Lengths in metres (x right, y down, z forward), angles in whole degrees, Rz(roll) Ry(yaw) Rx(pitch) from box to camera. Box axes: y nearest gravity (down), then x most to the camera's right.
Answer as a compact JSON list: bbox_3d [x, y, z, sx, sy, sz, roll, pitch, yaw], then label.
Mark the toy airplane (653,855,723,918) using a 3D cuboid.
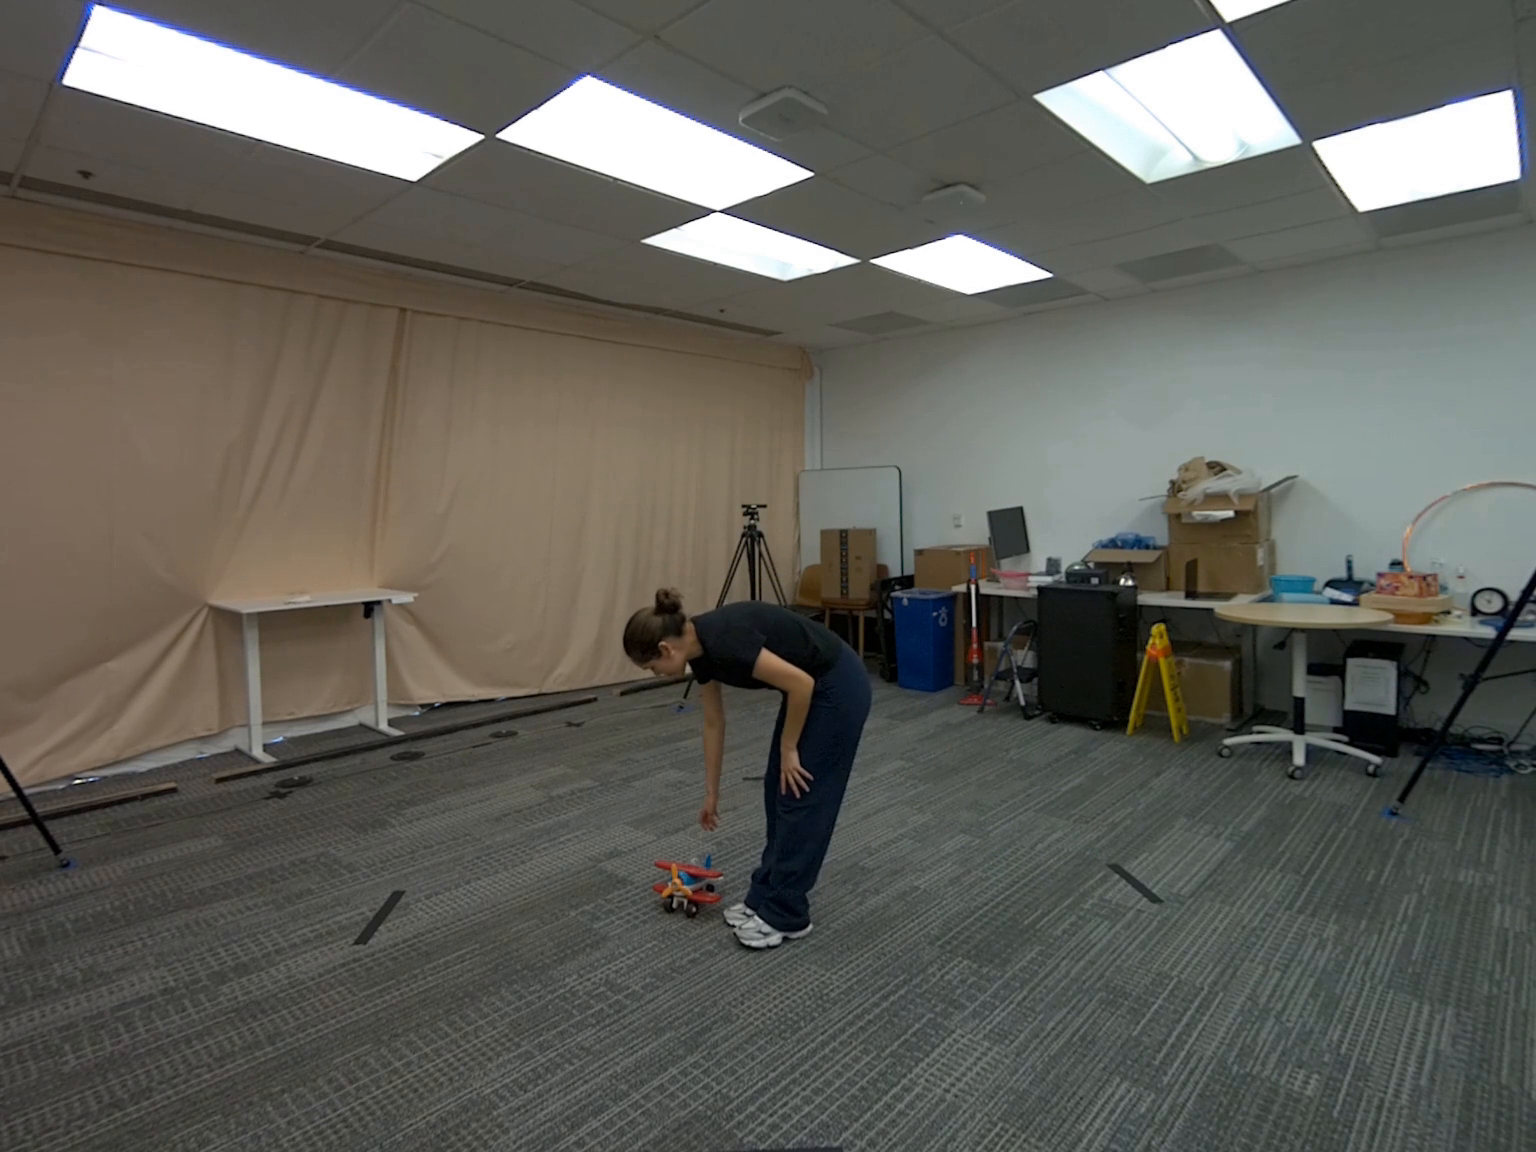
[{"bbox_3d":[-0.267,1.076,2.953,0.251,0.156,0.260,-2,6,-2],"label":"toy airplane"}]
